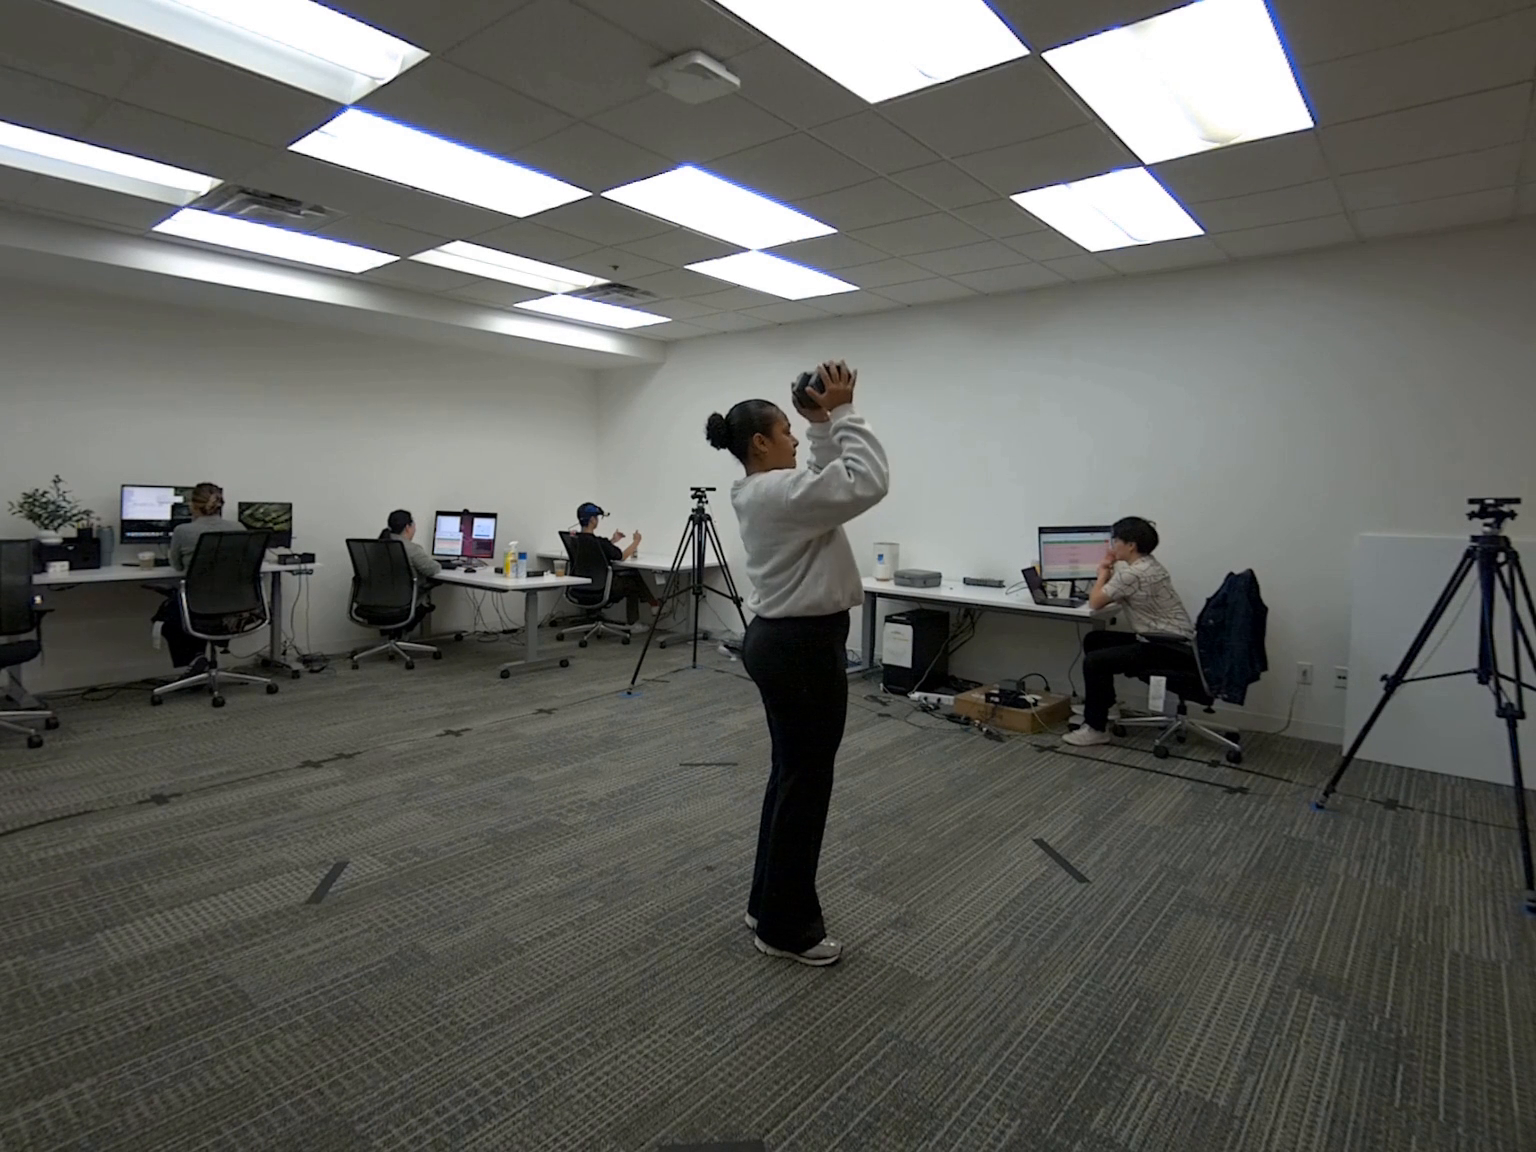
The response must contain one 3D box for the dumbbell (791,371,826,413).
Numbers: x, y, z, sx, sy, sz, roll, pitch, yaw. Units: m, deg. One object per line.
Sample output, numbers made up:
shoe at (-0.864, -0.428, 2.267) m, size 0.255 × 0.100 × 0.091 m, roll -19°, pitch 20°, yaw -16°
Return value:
dumbbell at (0.140, -0.573, 2.545) m, size 0.107 × 0.123 × 0.299 m, roll 30°, pitch 0°, yaw -15°
